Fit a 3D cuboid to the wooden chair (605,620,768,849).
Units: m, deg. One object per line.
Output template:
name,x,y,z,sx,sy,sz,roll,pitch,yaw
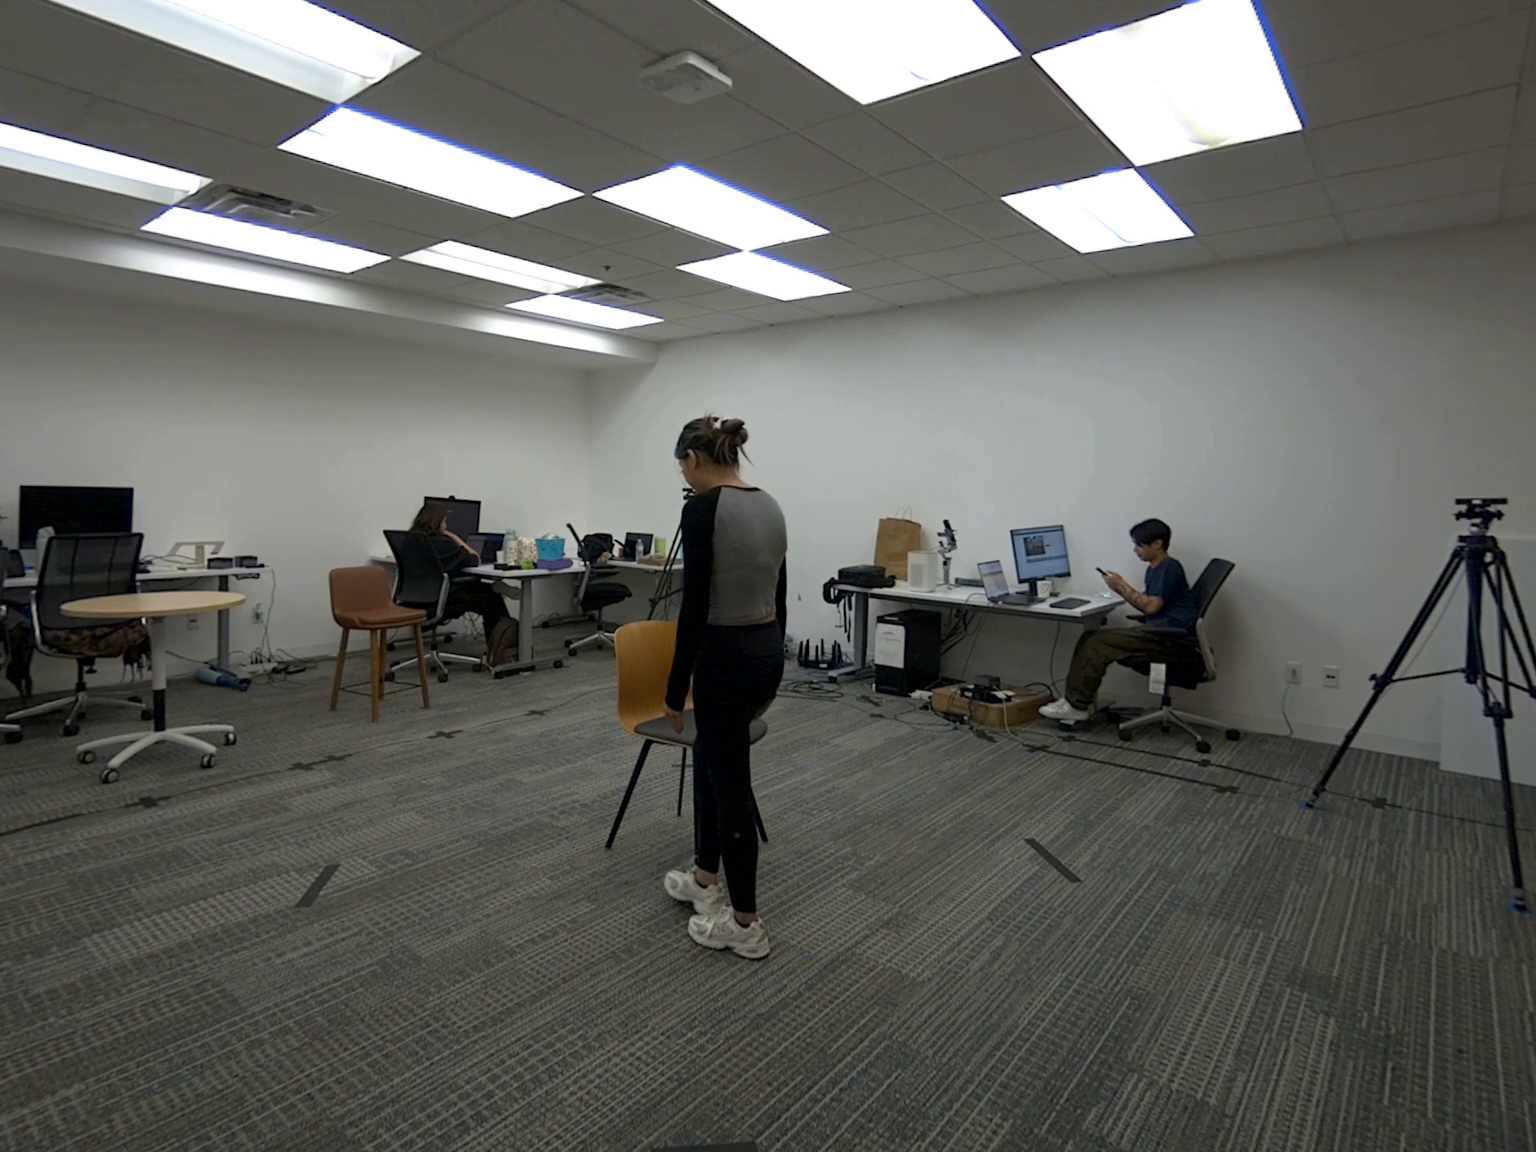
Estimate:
wooden chair,-0.308,0.619,3.279,0.538,0.877,0.464,-2,0,35
